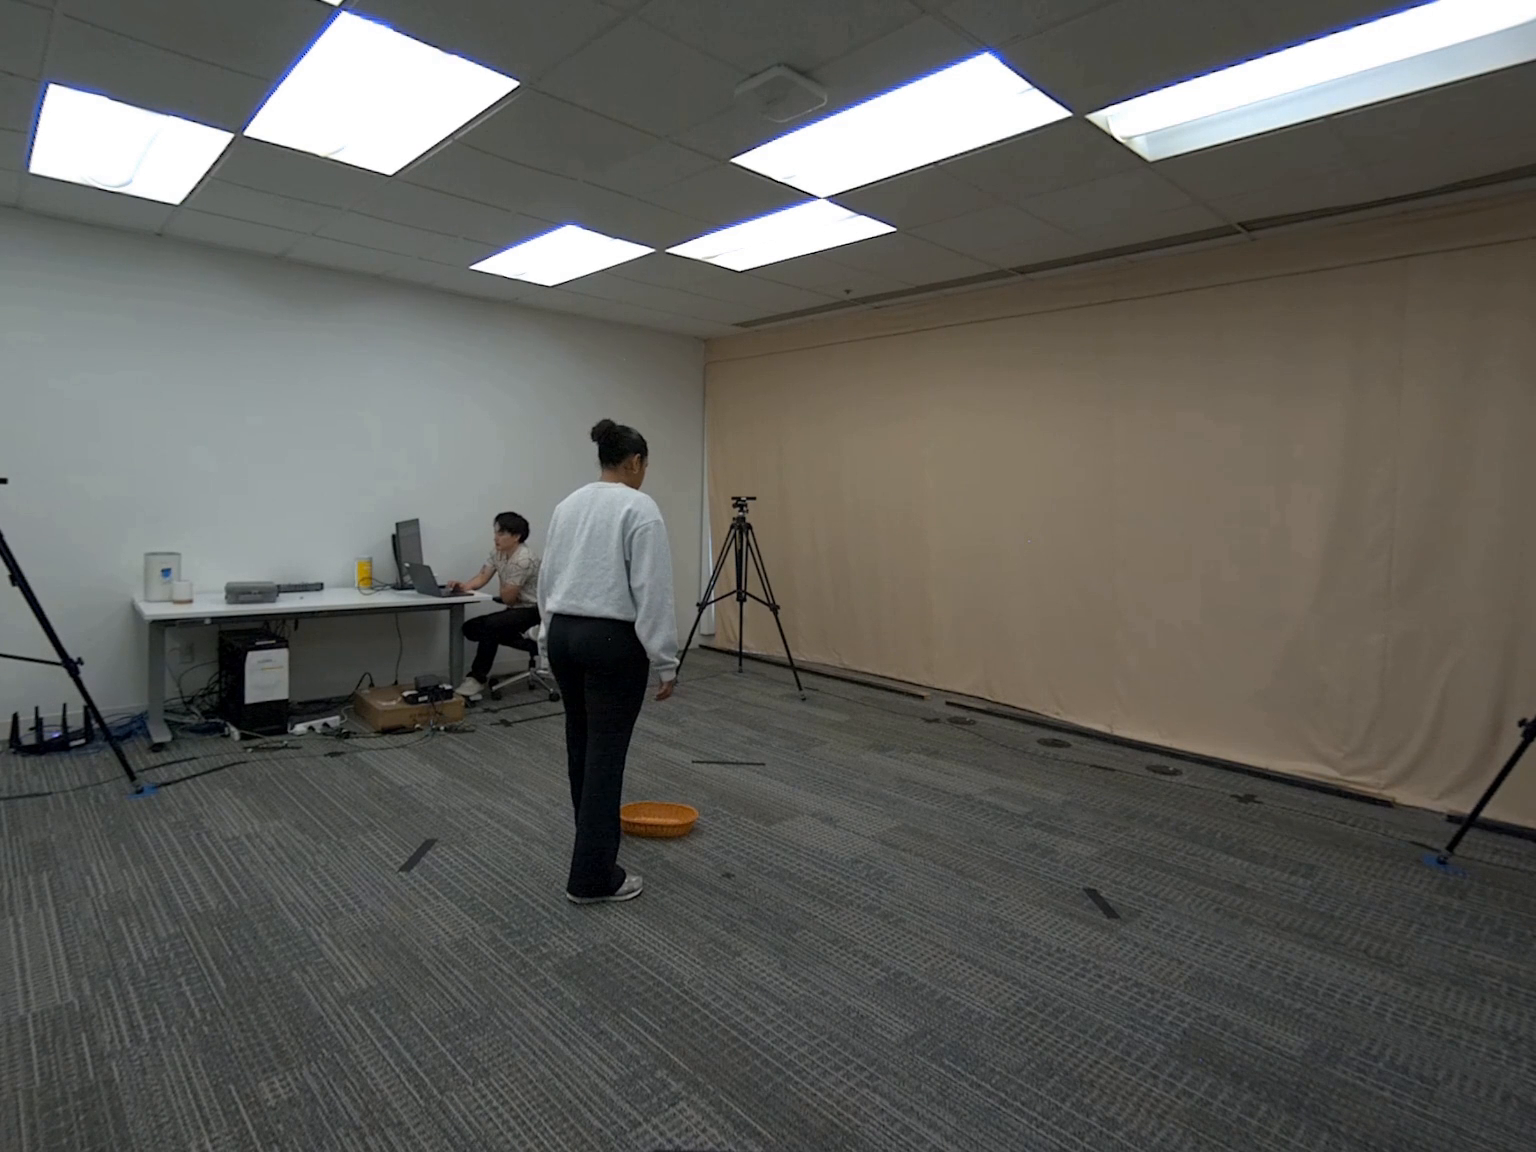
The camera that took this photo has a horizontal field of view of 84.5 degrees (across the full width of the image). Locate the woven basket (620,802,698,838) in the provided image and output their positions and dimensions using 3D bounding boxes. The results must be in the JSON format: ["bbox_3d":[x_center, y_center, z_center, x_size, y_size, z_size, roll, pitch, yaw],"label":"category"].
[{"bbox_3d":[-0.475,1.022,3.522,0.353,0.073,0.251,2,5,9],"label":"woven basket"}]
